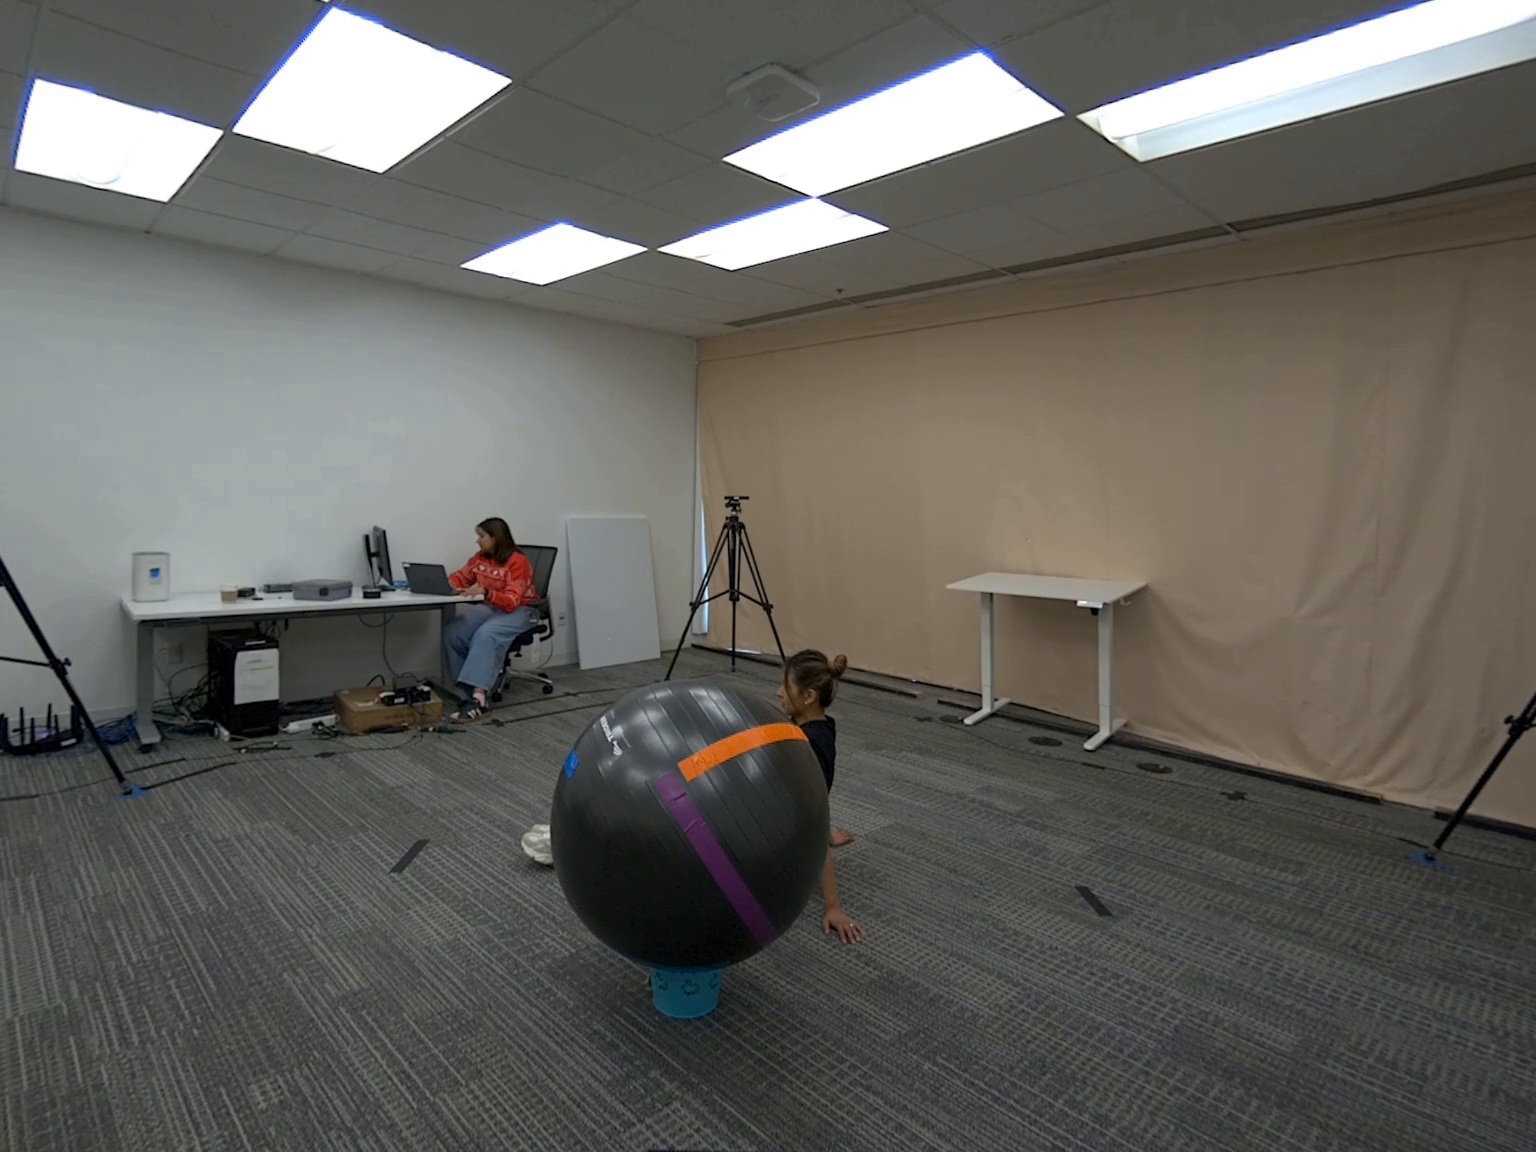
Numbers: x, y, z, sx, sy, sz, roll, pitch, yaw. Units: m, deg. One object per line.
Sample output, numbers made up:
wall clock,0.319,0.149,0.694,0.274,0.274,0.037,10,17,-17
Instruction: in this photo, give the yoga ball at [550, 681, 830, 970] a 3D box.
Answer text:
yoga ball,-0.214,0.671,2.296,0.757,0.756,0.761,1,4,-1
